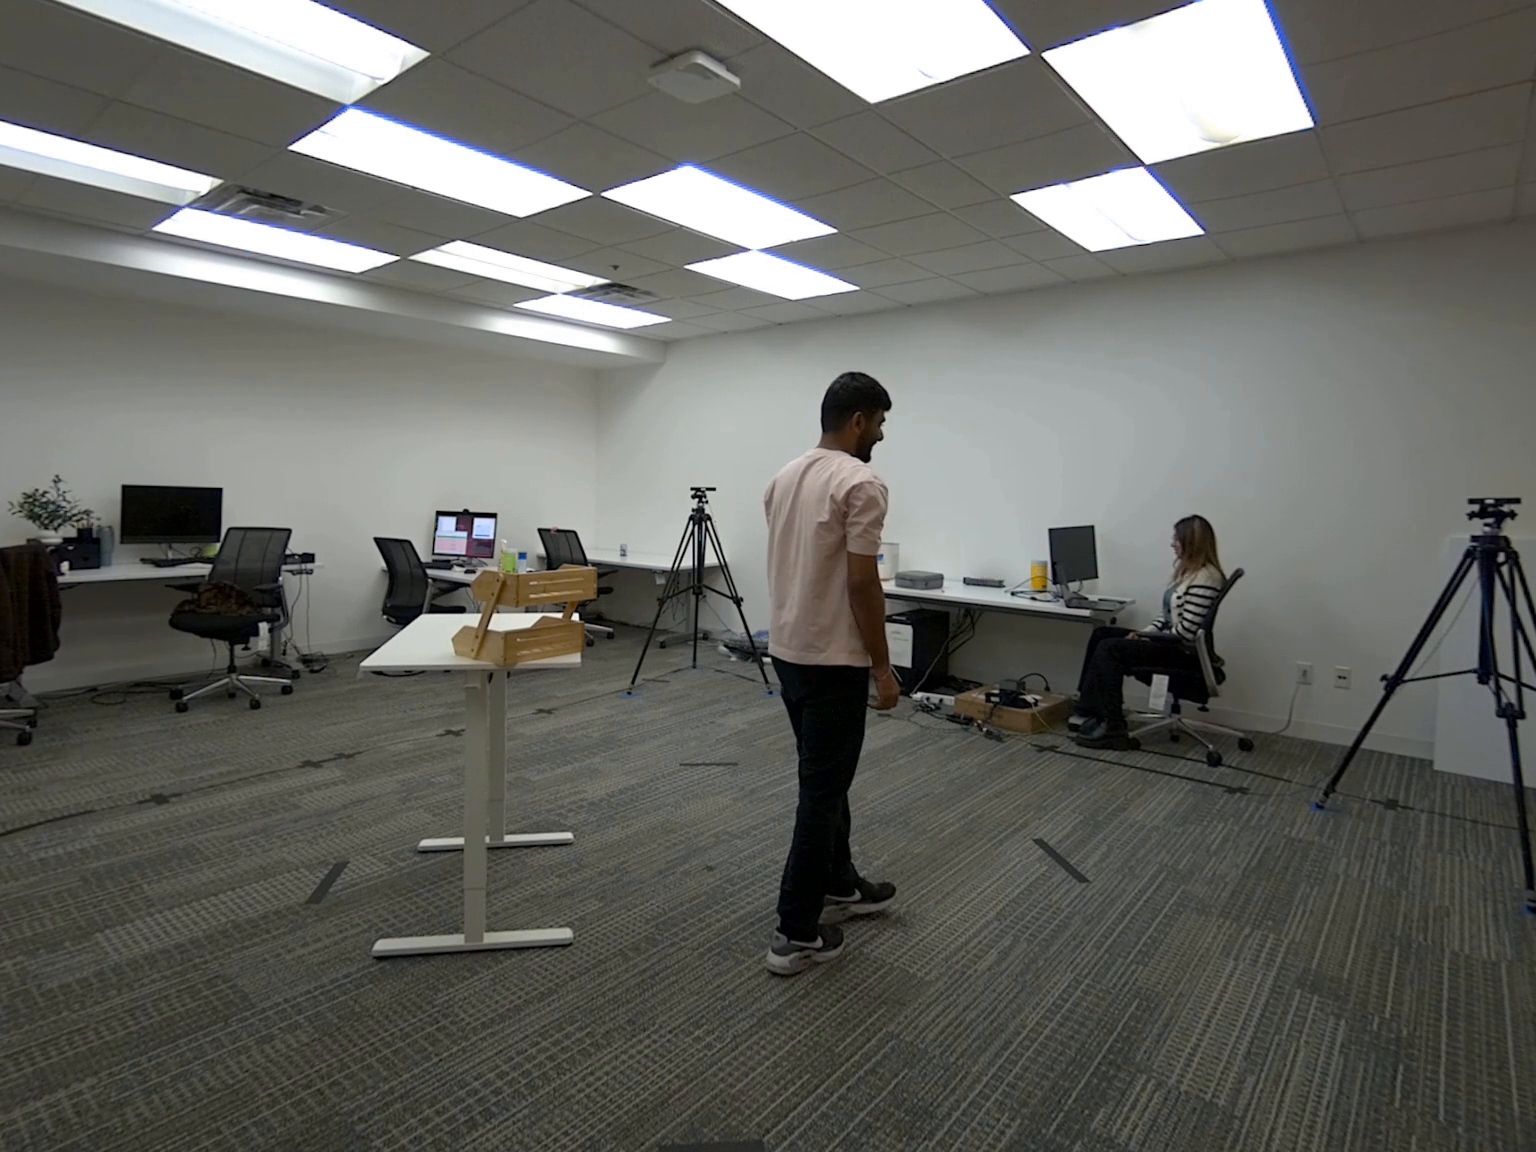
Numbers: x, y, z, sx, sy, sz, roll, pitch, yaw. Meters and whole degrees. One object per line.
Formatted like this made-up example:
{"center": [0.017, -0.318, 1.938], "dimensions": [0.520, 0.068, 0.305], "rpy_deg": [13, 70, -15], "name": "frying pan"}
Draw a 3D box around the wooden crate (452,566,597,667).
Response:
{"center": [-0.734, 0.098, 2.536], "dimensions": [0.312, 0.272, 0.315], "rpy_deg": [6, 6, 37], "name": "wooden crate"}
